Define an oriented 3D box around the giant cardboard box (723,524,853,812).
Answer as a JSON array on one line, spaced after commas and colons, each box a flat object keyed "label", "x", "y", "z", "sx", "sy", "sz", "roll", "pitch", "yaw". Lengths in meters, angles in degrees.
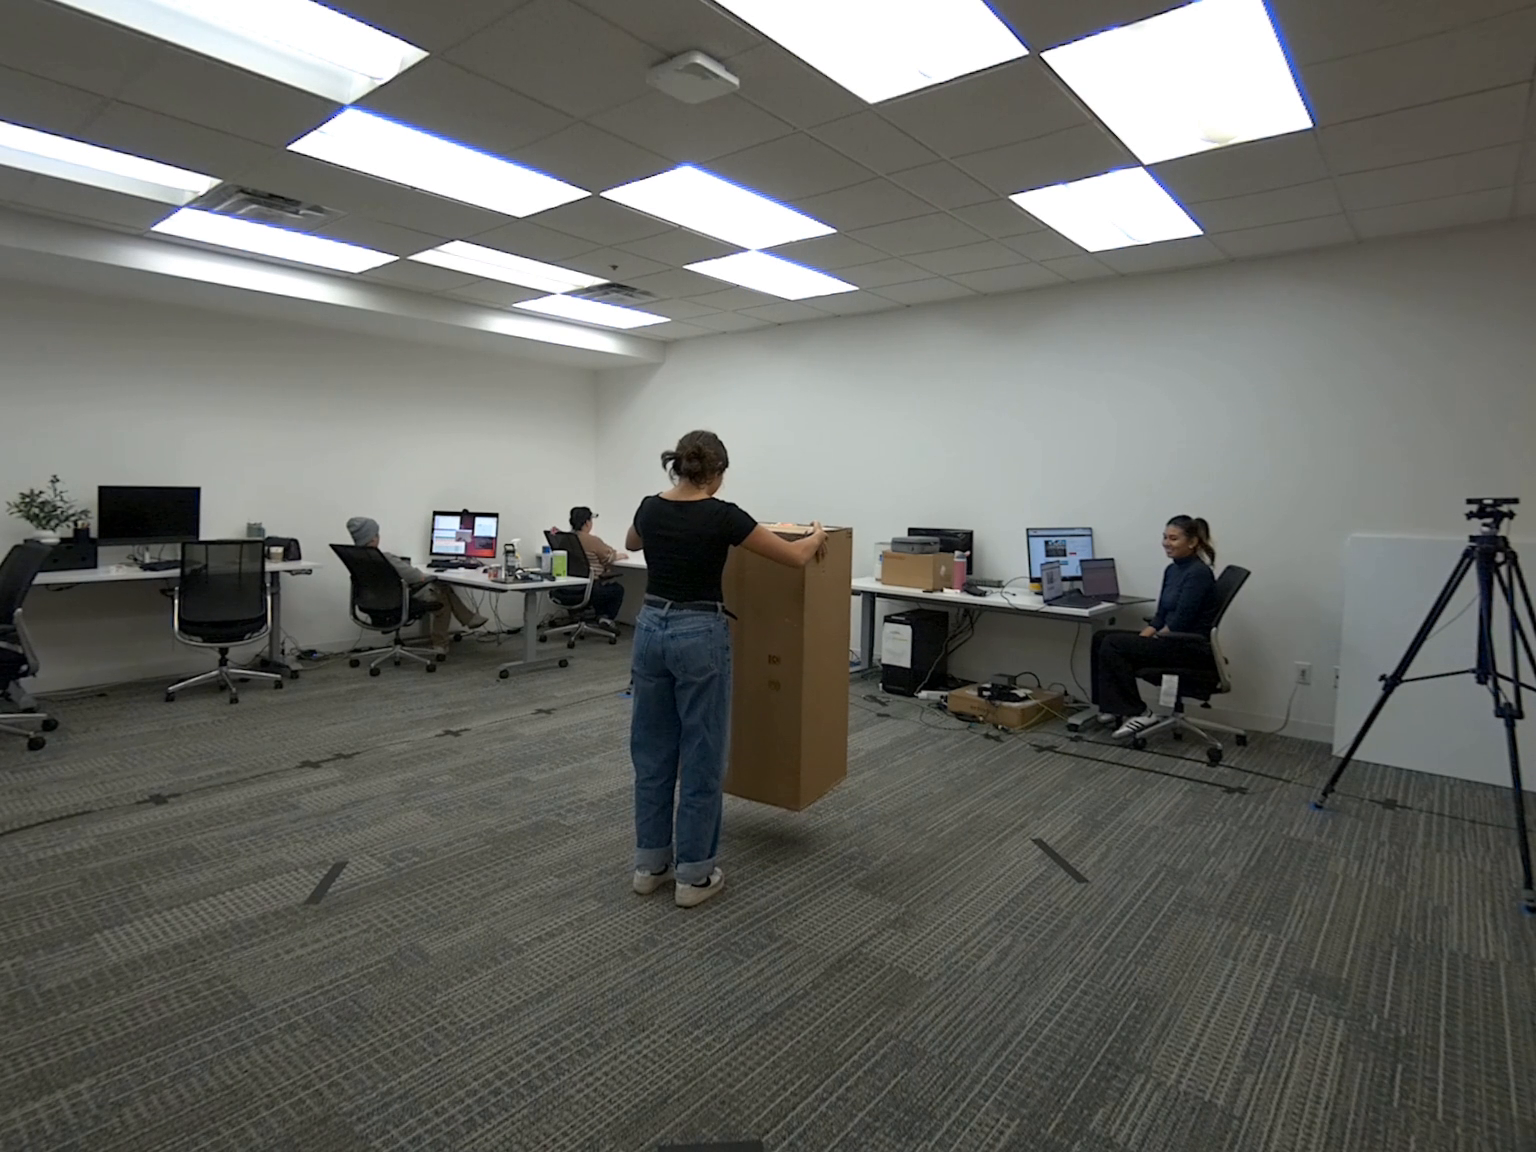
[{"label": "giant cardboard box", "x": -0.026, "y": 0.318, "z": 3.385, "sx": 0.595, "sy": 1.021, "sz": 0.415, "roll": 4, "pitch": 6, "yaw": 31}]
